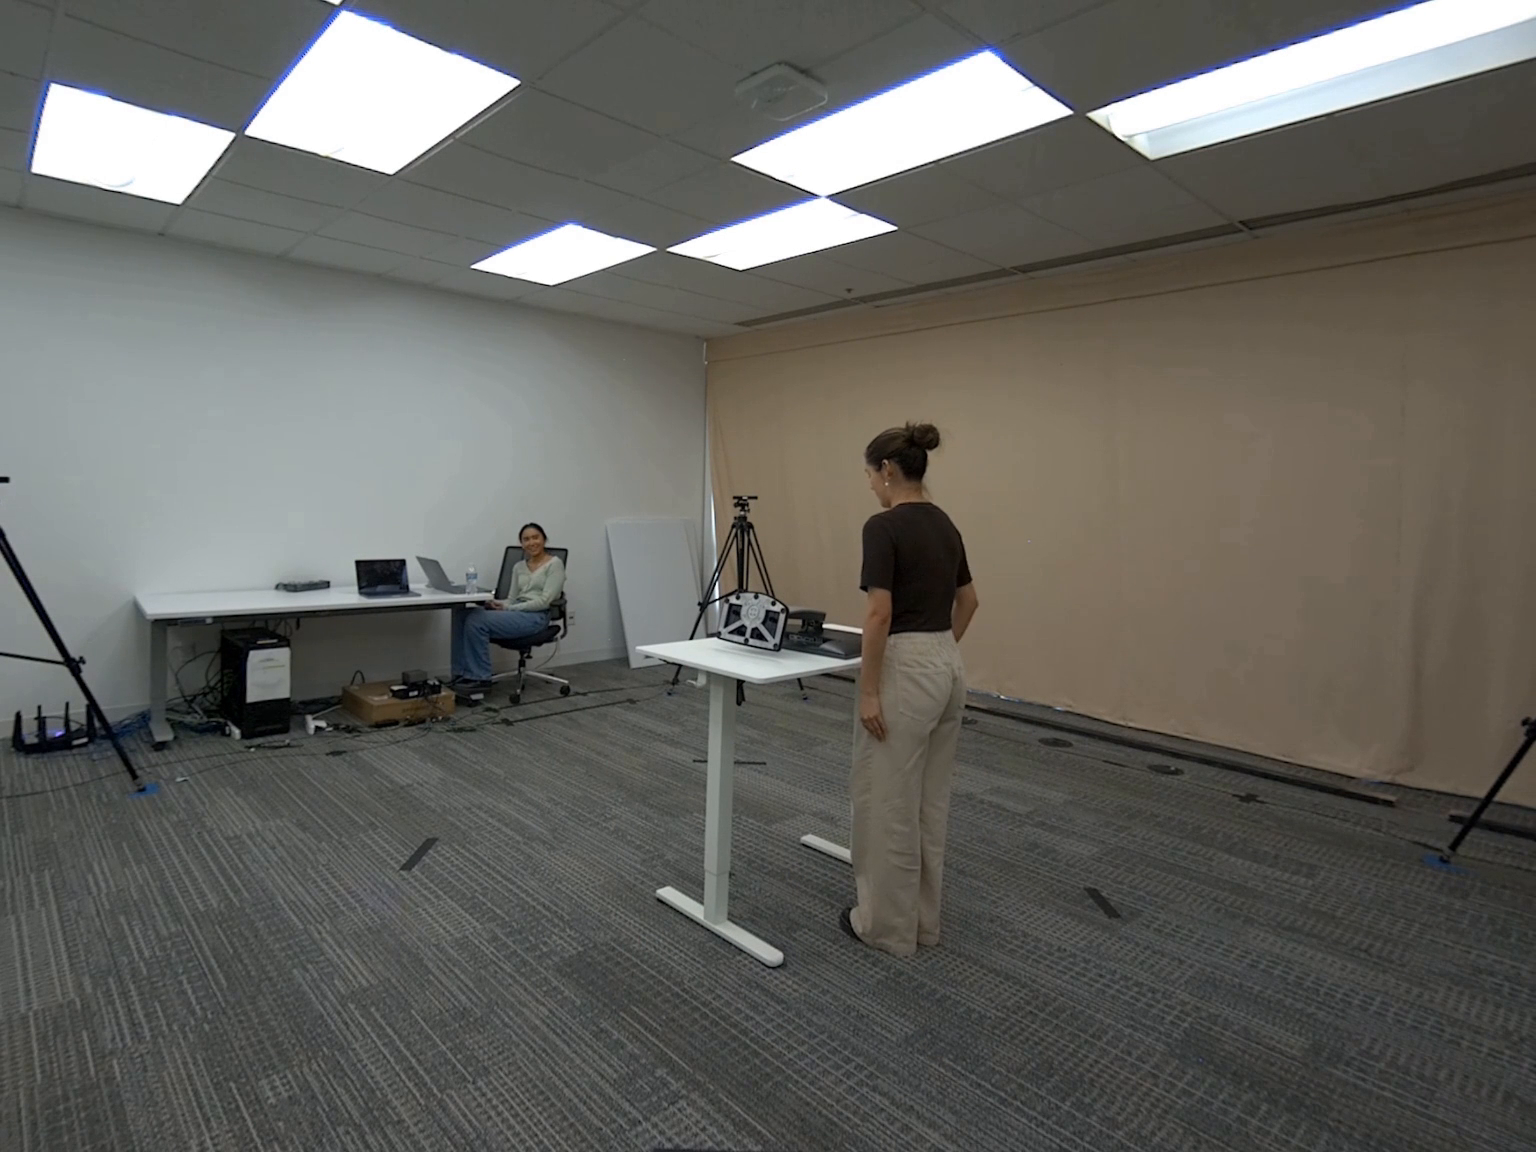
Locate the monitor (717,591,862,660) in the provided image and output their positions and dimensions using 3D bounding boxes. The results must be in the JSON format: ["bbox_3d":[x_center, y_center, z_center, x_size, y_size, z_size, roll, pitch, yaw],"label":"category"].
[{"bbox_3d":[0.093,0.189,2.929,0.553,0.187,0.507,9,-5,42],"label":"monitor"}]
